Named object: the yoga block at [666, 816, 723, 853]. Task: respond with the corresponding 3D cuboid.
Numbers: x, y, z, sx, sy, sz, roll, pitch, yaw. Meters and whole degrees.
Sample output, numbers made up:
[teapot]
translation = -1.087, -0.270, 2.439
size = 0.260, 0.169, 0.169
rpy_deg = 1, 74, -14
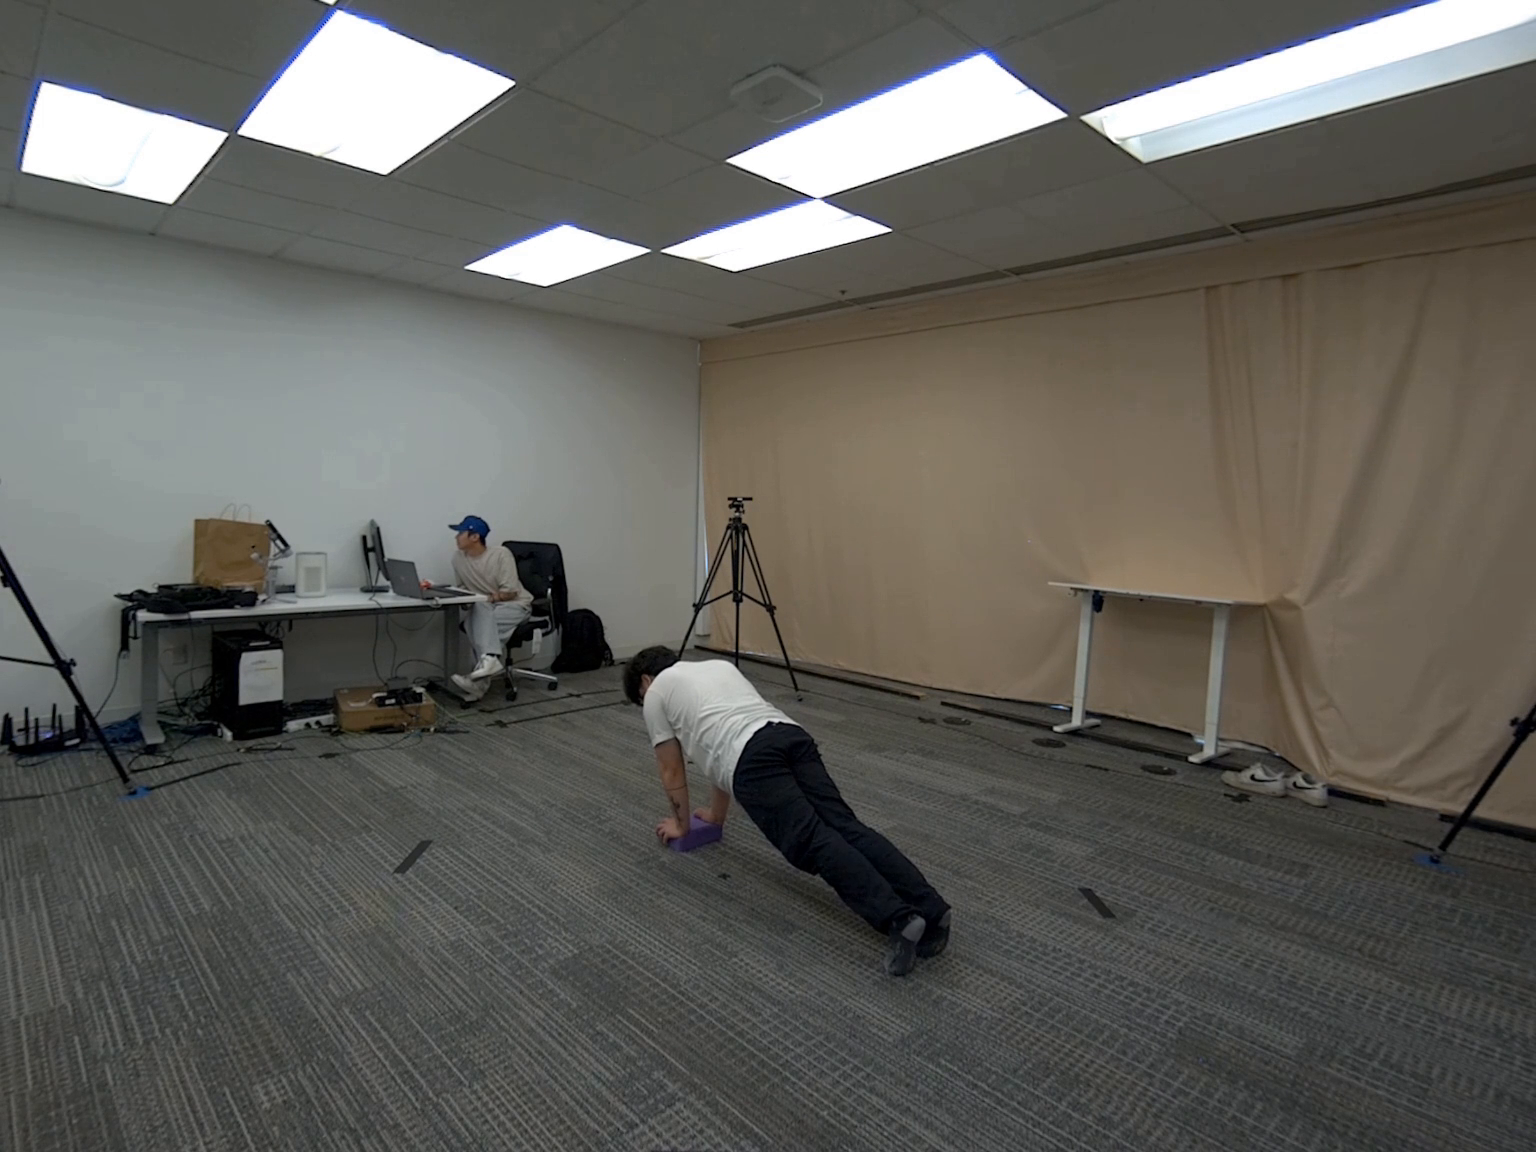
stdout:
[yoga block]
translation = -0.323, 1.044, 3.424
size = 0.224, 0.076, 0.153
rpy_deg = -4, 7, -45
